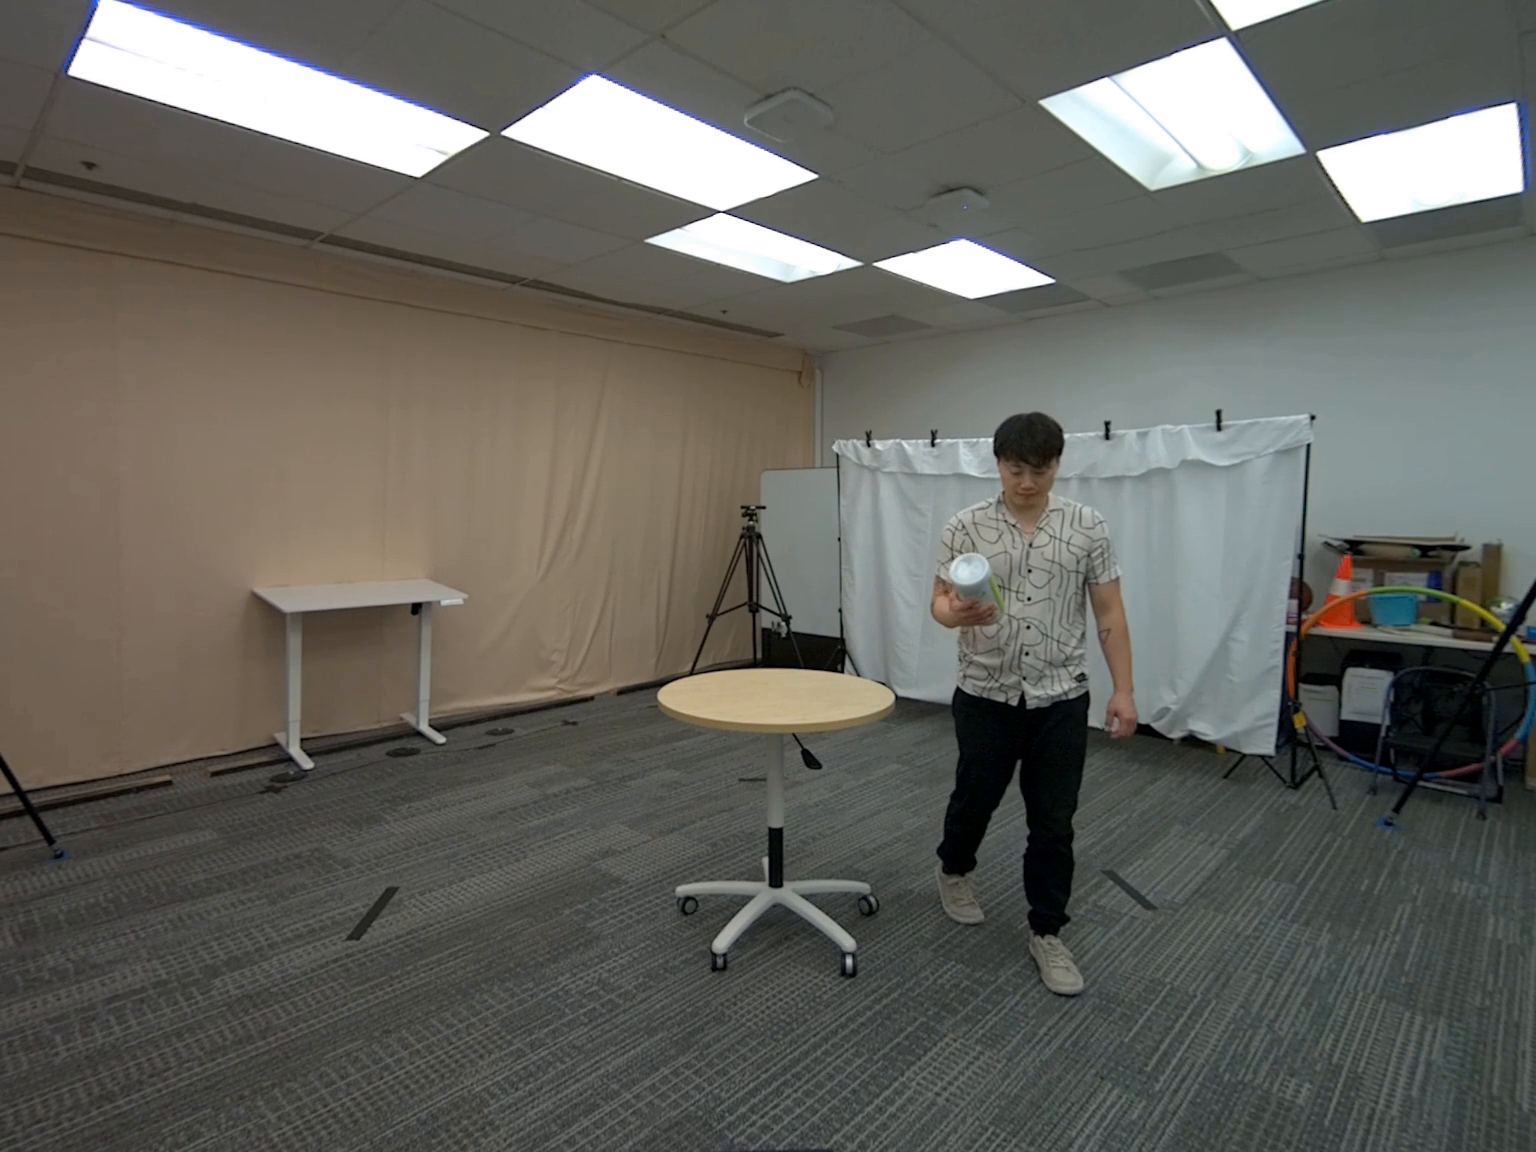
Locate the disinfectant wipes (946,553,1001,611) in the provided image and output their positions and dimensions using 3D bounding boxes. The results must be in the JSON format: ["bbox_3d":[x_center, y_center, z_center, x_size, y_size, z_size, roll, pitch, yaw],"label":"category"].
[{"bbox_3d":[0.579,0.040,2.315,0.121,0.118,0.210,2,-35,29],"label":"disinfectant wipes"}]
